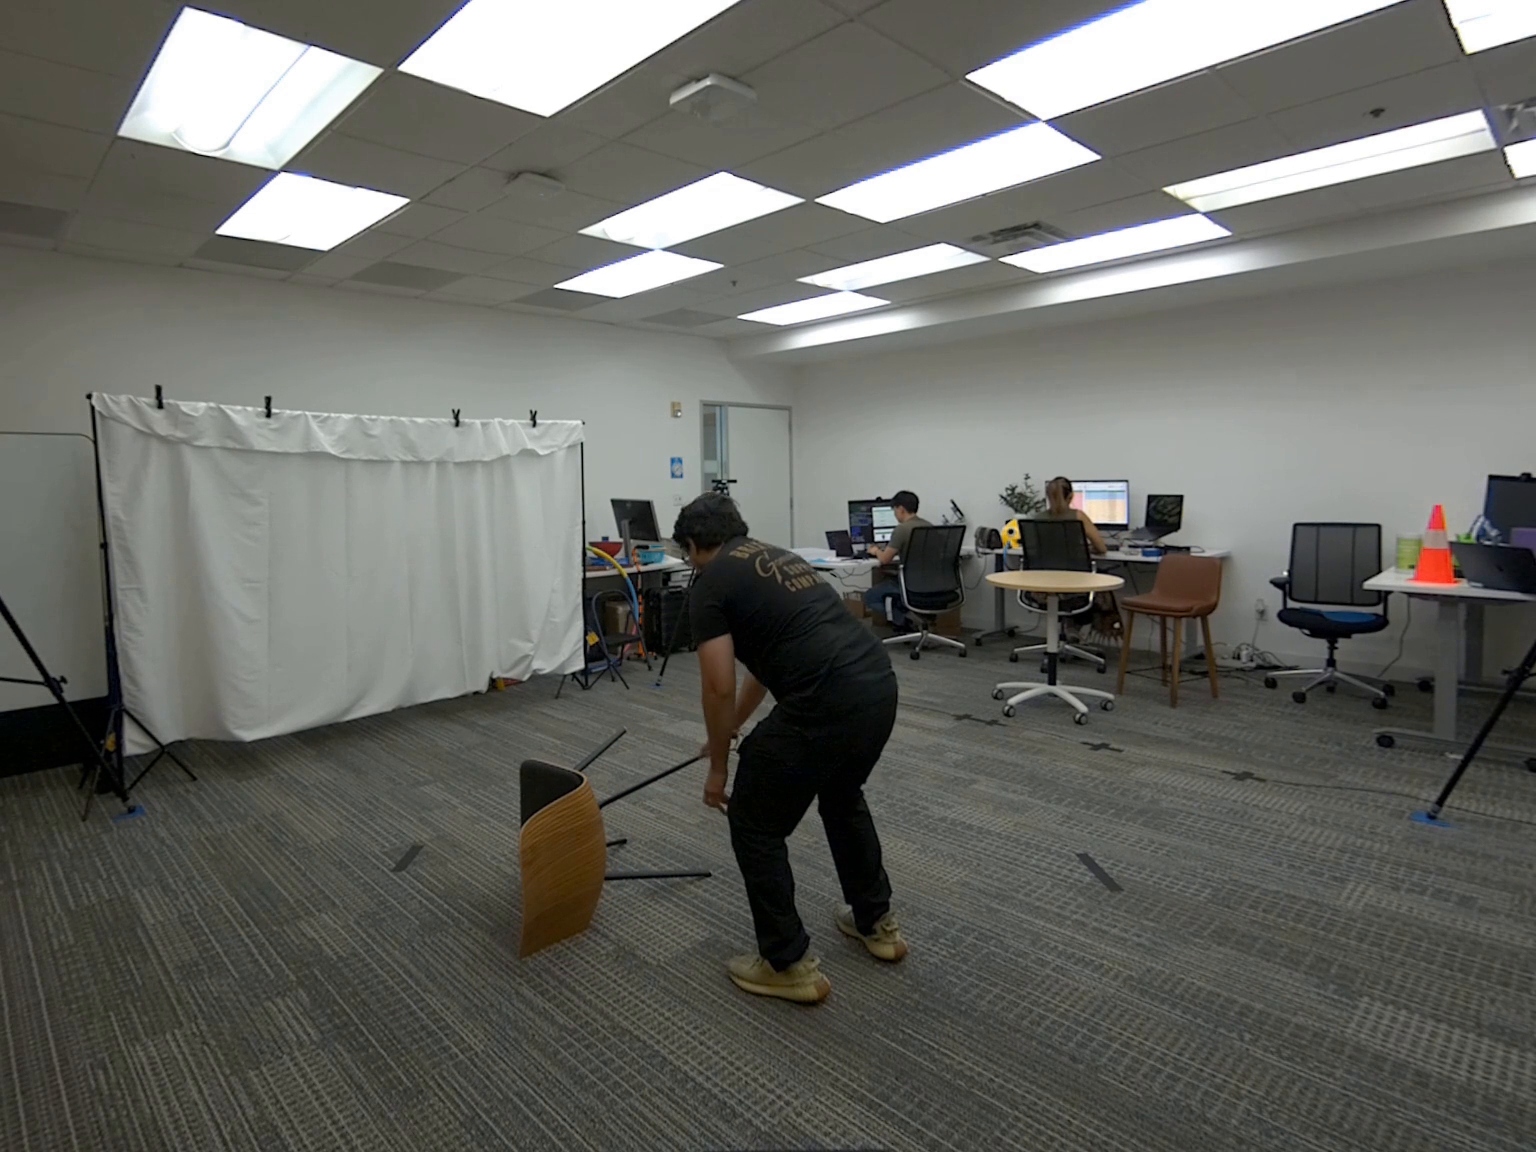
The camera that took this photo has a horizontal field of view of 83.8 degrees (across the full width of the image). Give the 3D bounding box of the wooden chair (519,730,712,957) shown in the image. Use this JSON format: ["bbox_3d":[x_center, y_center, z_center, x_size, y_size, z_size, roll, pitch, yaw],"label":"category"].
[{"bbox_3d":[-0.640,0.860,2.838,0.538,0.476,0.856,3,7,35],"label":"wooden chair"}]
